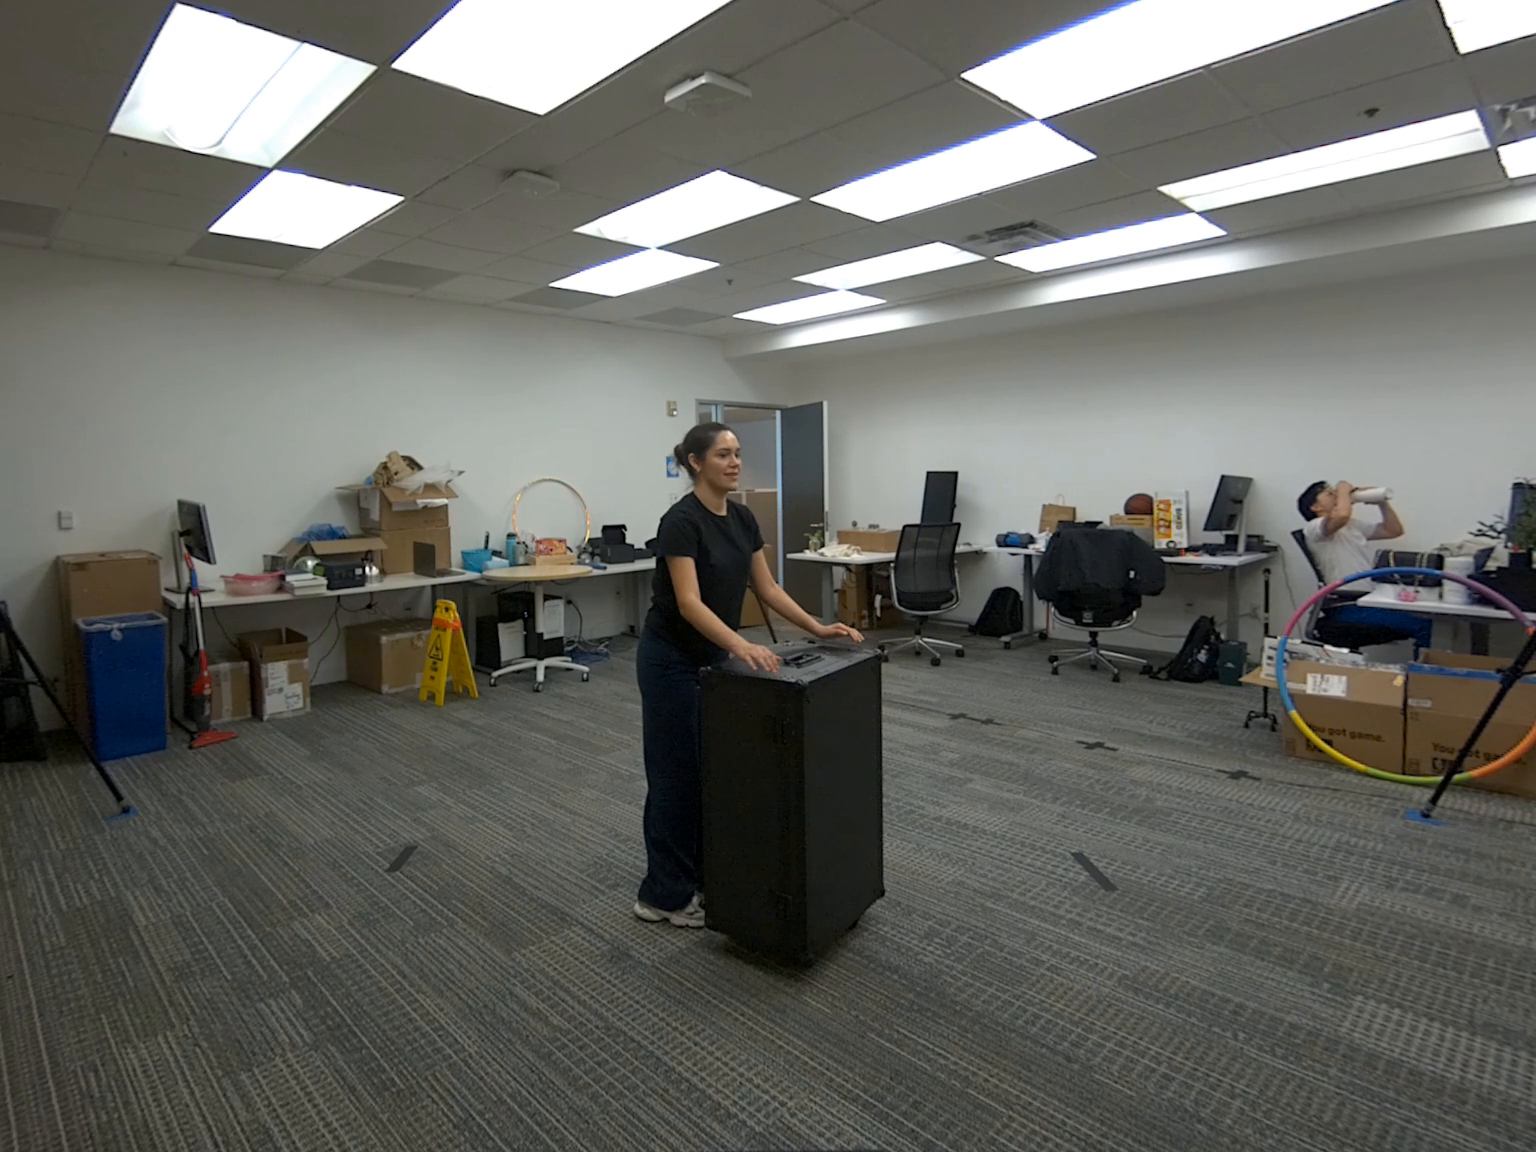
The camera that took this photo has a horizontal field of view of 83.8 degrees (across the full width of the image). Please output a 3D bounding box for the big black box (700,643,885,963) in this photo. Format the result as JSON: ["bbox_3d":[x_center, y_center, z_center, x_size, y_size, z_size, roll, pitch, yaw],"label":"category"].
[{"bbox_3d":[0.079,0.621,2.609,0.407,0.858,0.509,1,5,35],"label":"big black box"}]
